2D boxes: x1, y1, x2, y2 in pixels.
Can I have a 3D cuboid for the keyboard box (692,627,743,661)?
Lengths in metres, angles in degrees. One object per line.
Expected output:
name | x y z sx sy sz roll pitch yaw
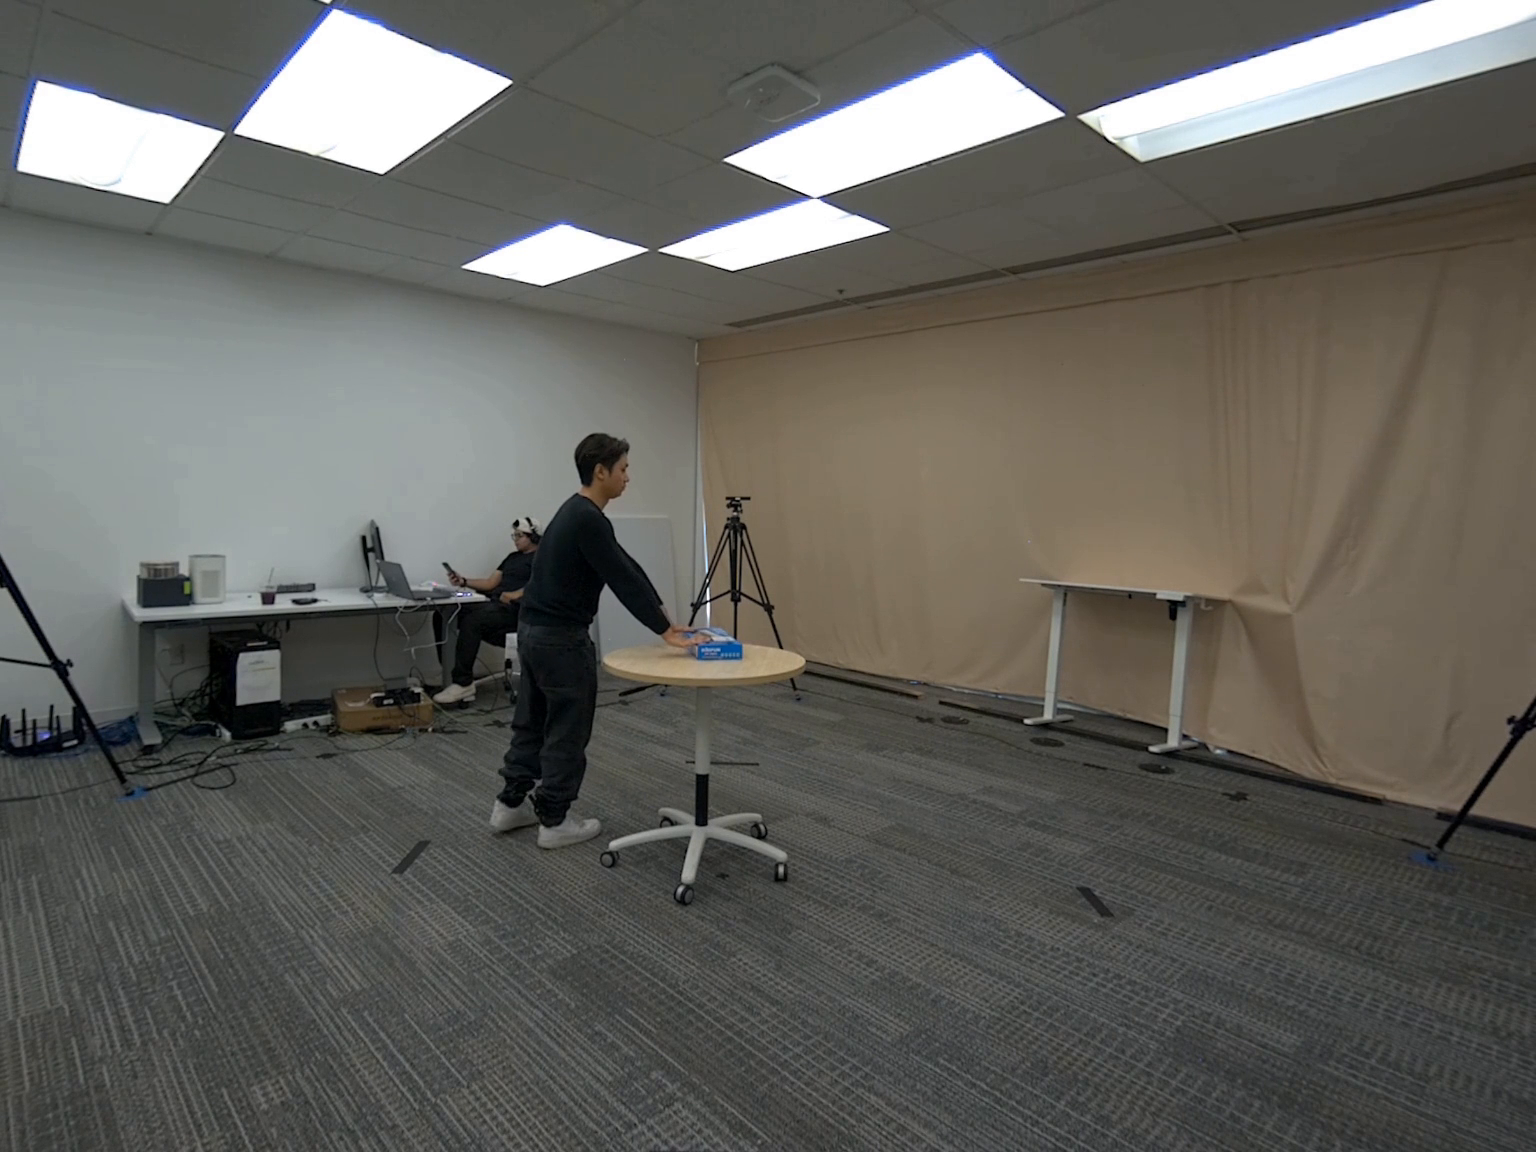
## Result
keyboard box | -0.253 0.270 3.383 0.174 0.059 0.443 0 6 -16
